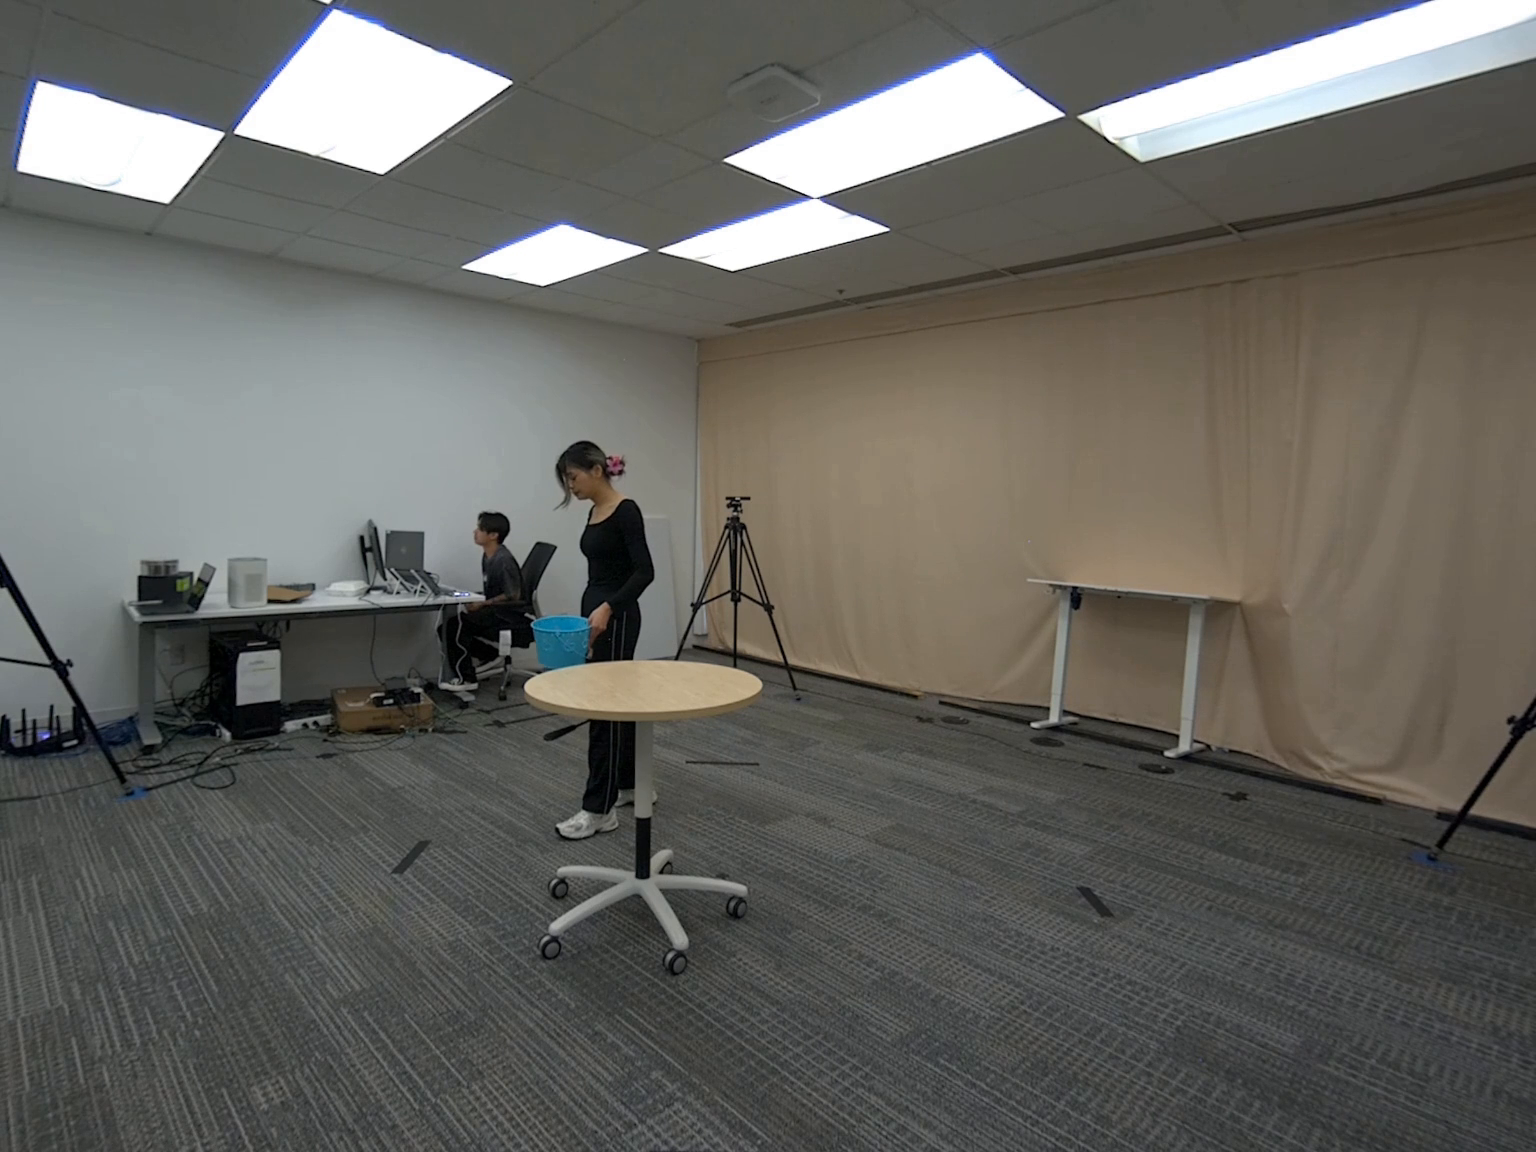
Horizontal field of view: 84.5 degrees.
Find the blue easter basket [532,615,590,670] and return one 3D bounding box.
[{"bbox_3d":[-0.810,0.258,3.236,0.243,0.155,0.245,3,11,-2],"label":"blue easter basket"}]
